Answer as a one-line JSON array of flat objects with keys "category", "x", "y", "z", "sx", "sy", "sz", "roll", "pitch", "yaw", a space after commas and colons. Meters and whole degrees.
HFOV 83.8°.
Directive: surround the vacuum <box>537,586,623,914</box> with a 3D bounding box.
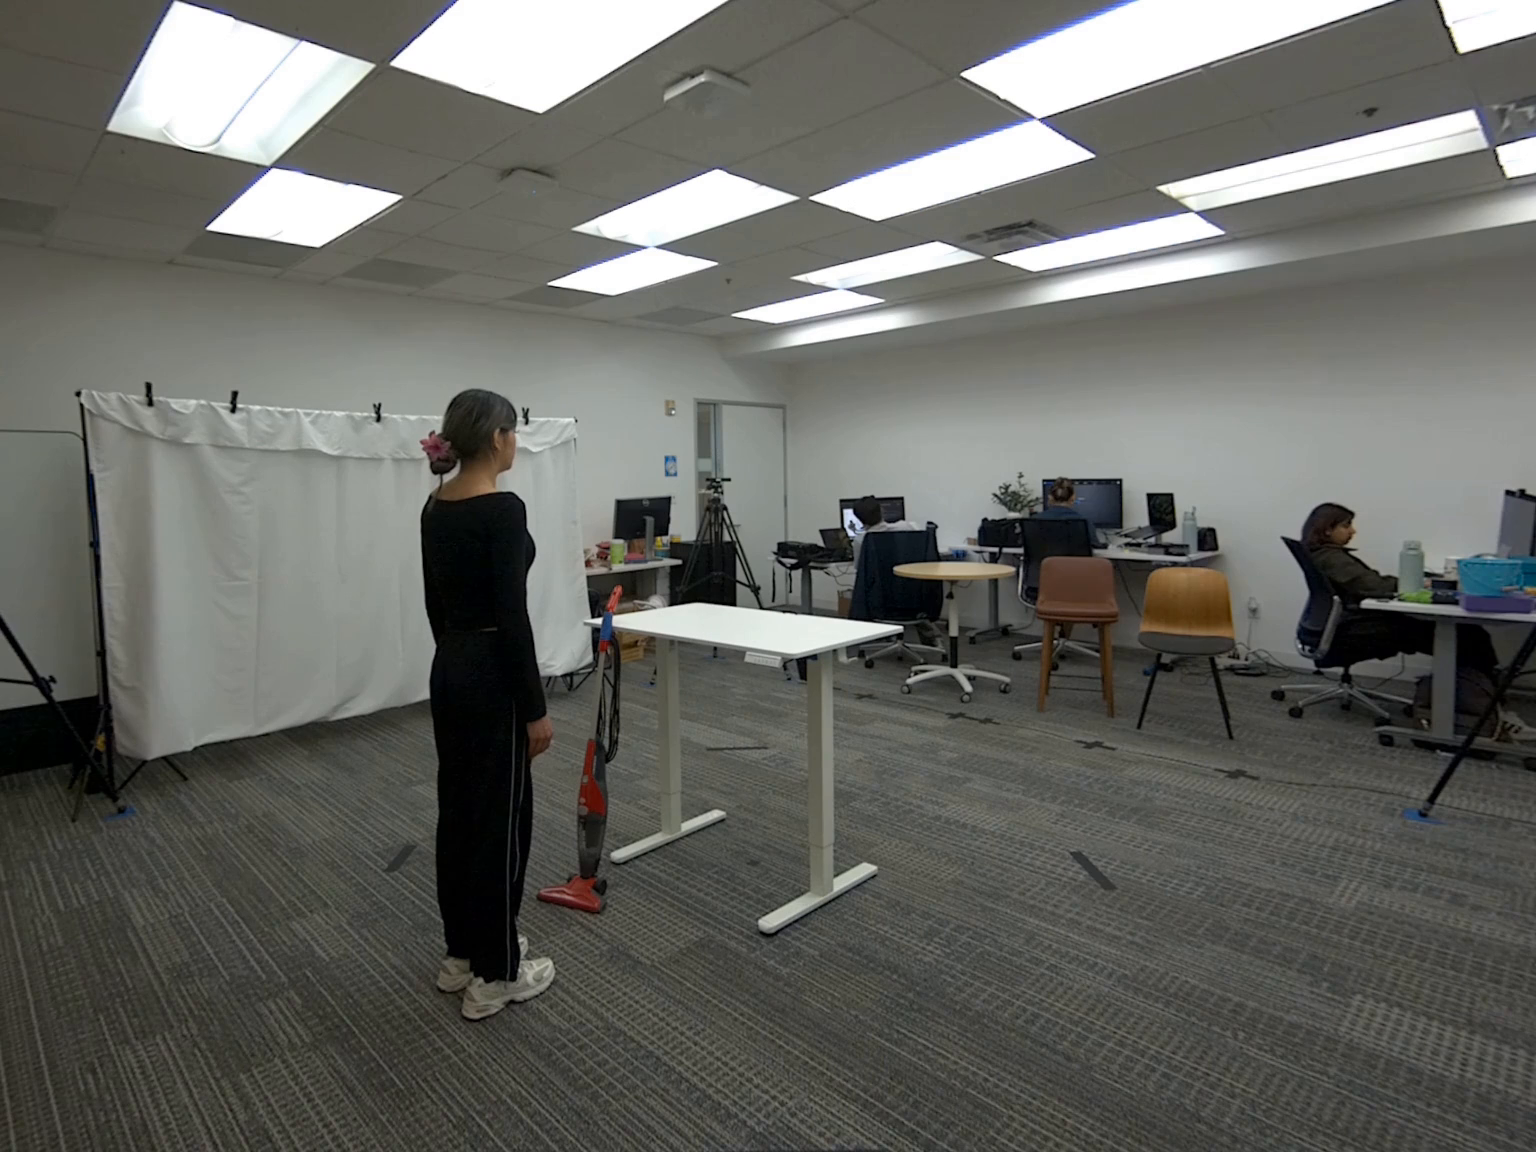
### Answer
[{"category": "vacuum", "x": -0.586, "y": 0.573, "z": 2.976, "sx": 0.259, "sy": 1.059, "sz": 0.139, "roll": 0, "pitch": -14, "yaw": 28}]
